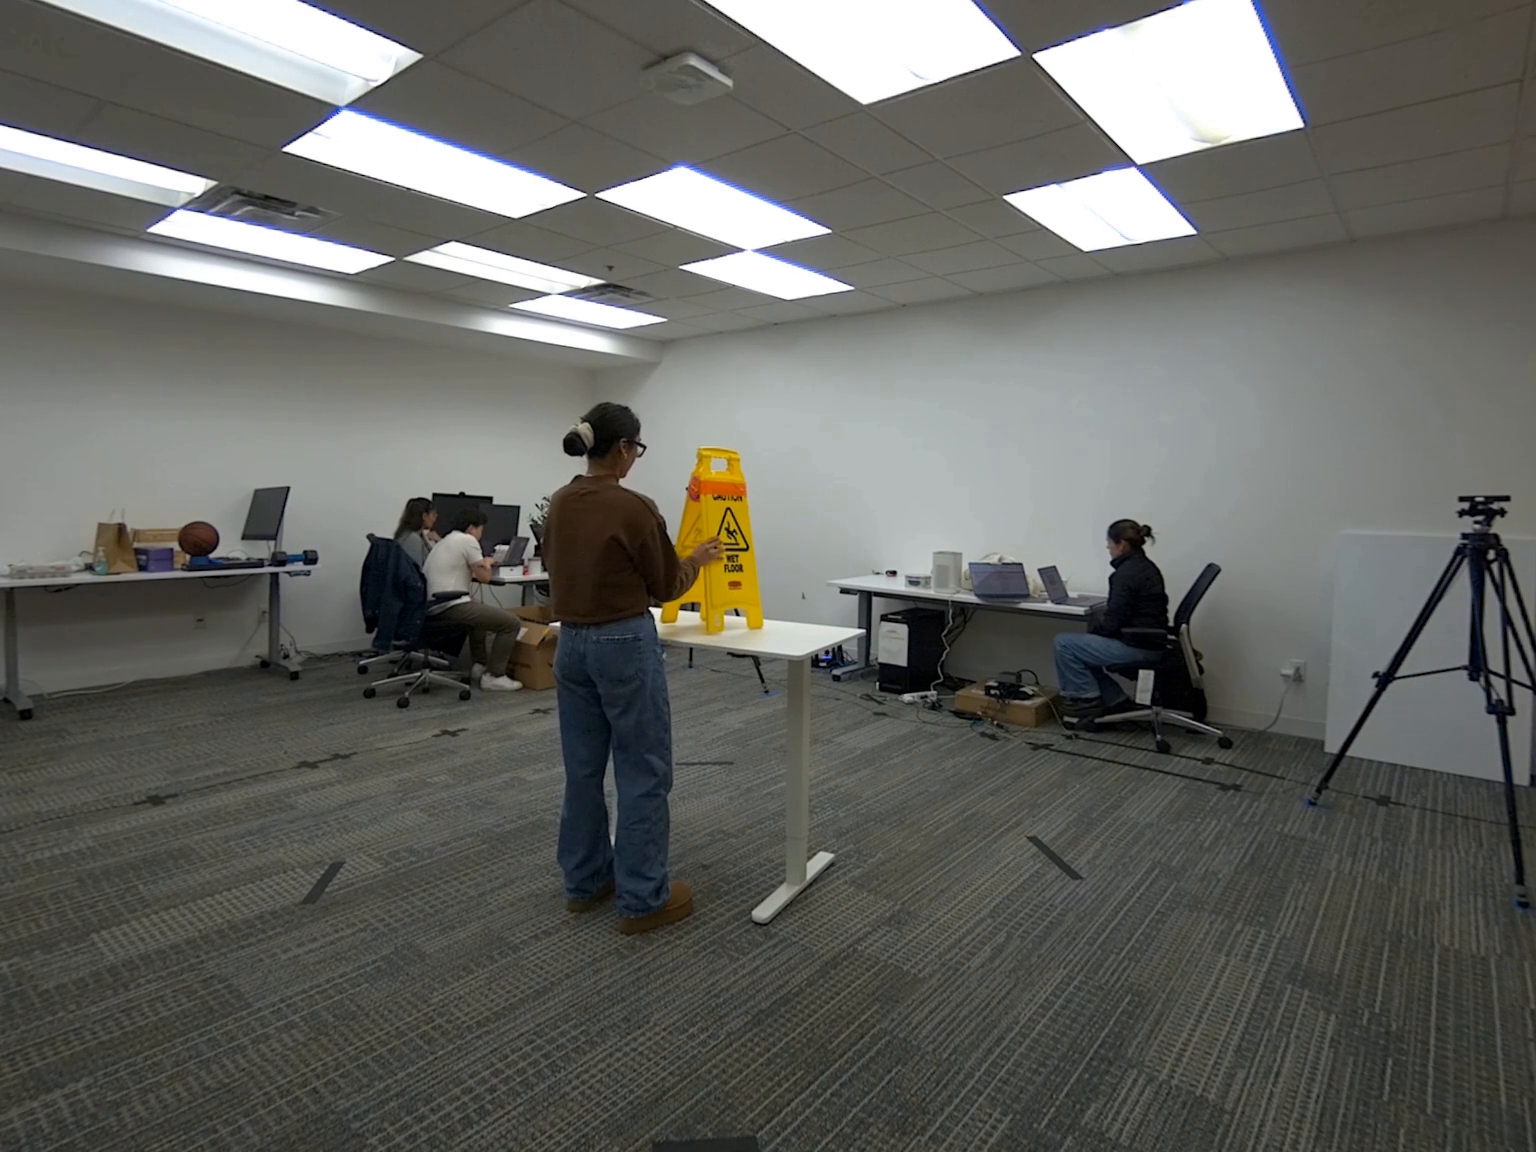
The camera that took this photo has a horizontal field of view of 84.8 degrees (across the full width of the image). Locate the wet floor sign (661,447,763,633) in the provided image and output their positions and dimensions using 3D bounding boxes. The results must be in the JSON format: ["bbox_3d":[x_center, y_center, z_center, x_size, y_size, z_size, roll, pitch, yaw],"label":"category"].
[{"bbox_3d":[-0.204,-0.143,3.107,0.299,0.645,0.273,3,2,43],"label":"wet floor sign"}]
